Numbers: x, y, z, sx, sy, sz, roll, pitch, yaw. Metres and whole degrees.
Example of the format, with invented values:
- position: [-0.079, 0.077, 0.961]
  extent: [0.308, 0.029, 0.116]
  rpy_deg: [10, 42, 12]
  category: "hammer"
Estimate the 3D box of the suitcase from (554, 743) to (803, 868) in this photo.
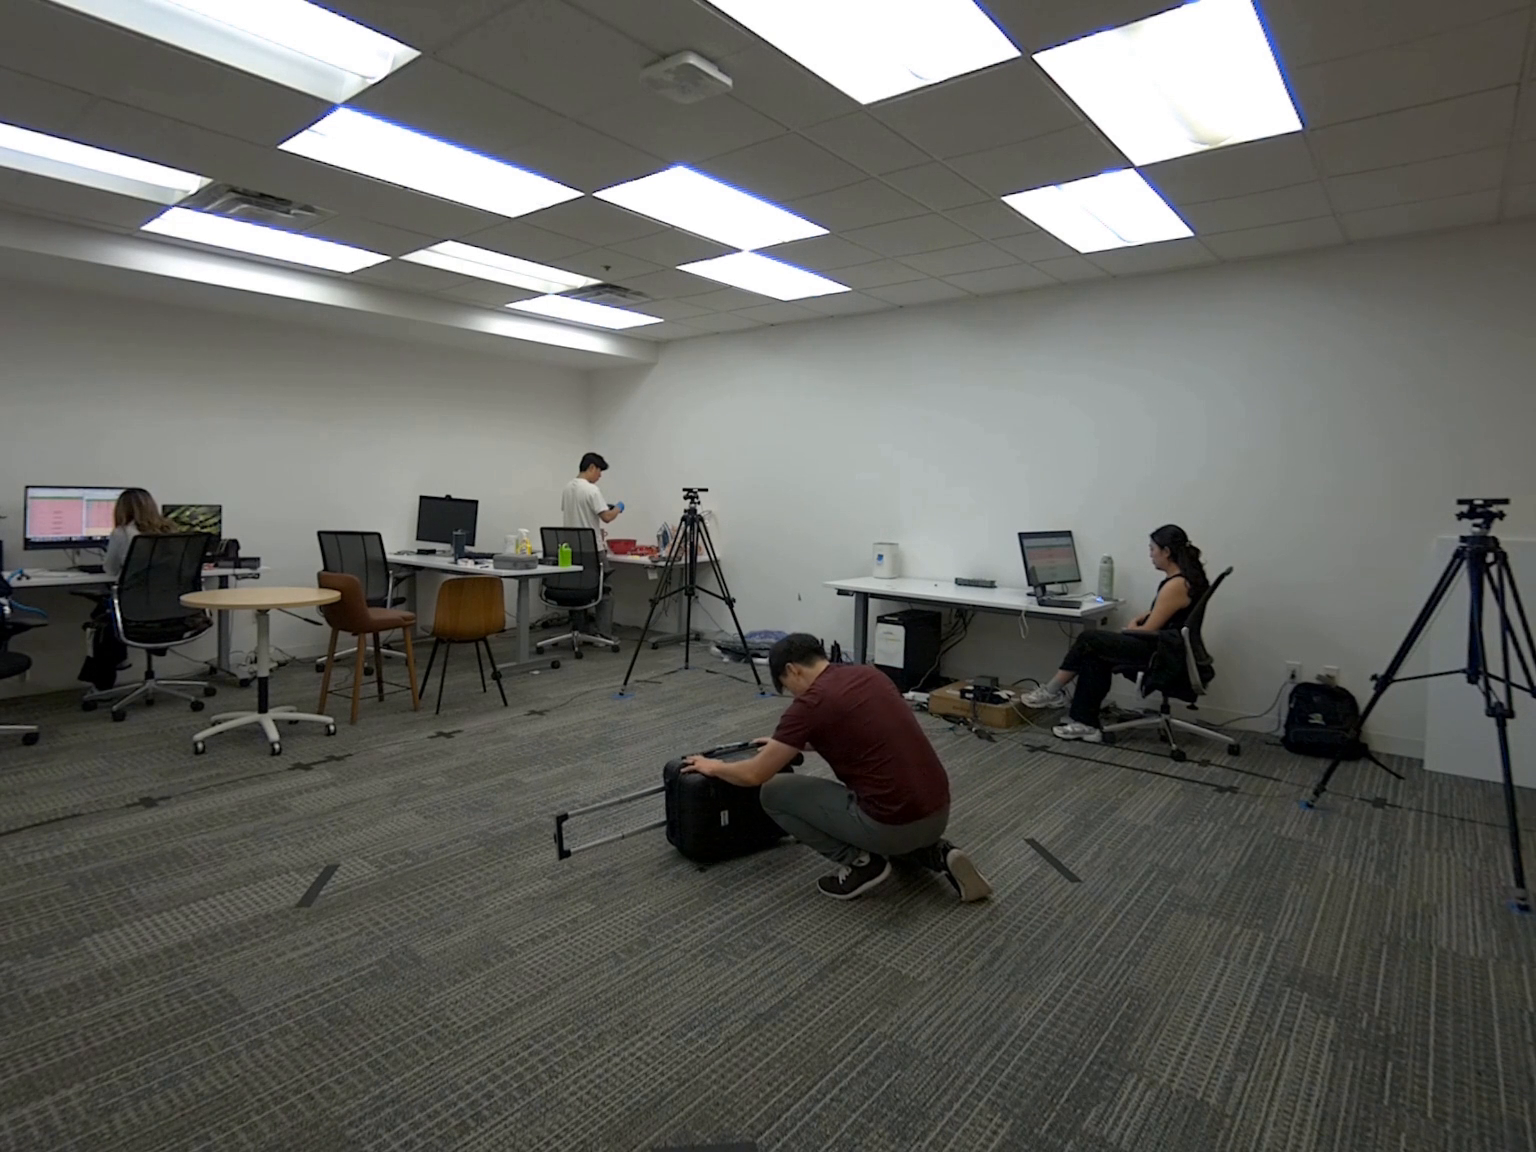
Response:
- position: [-0.306, 0.874, 3.196]
  extent: [0.950, 0.383, 0.265]
  rpy_deg: [-4, 3, -38]
  category: "suitcase"
